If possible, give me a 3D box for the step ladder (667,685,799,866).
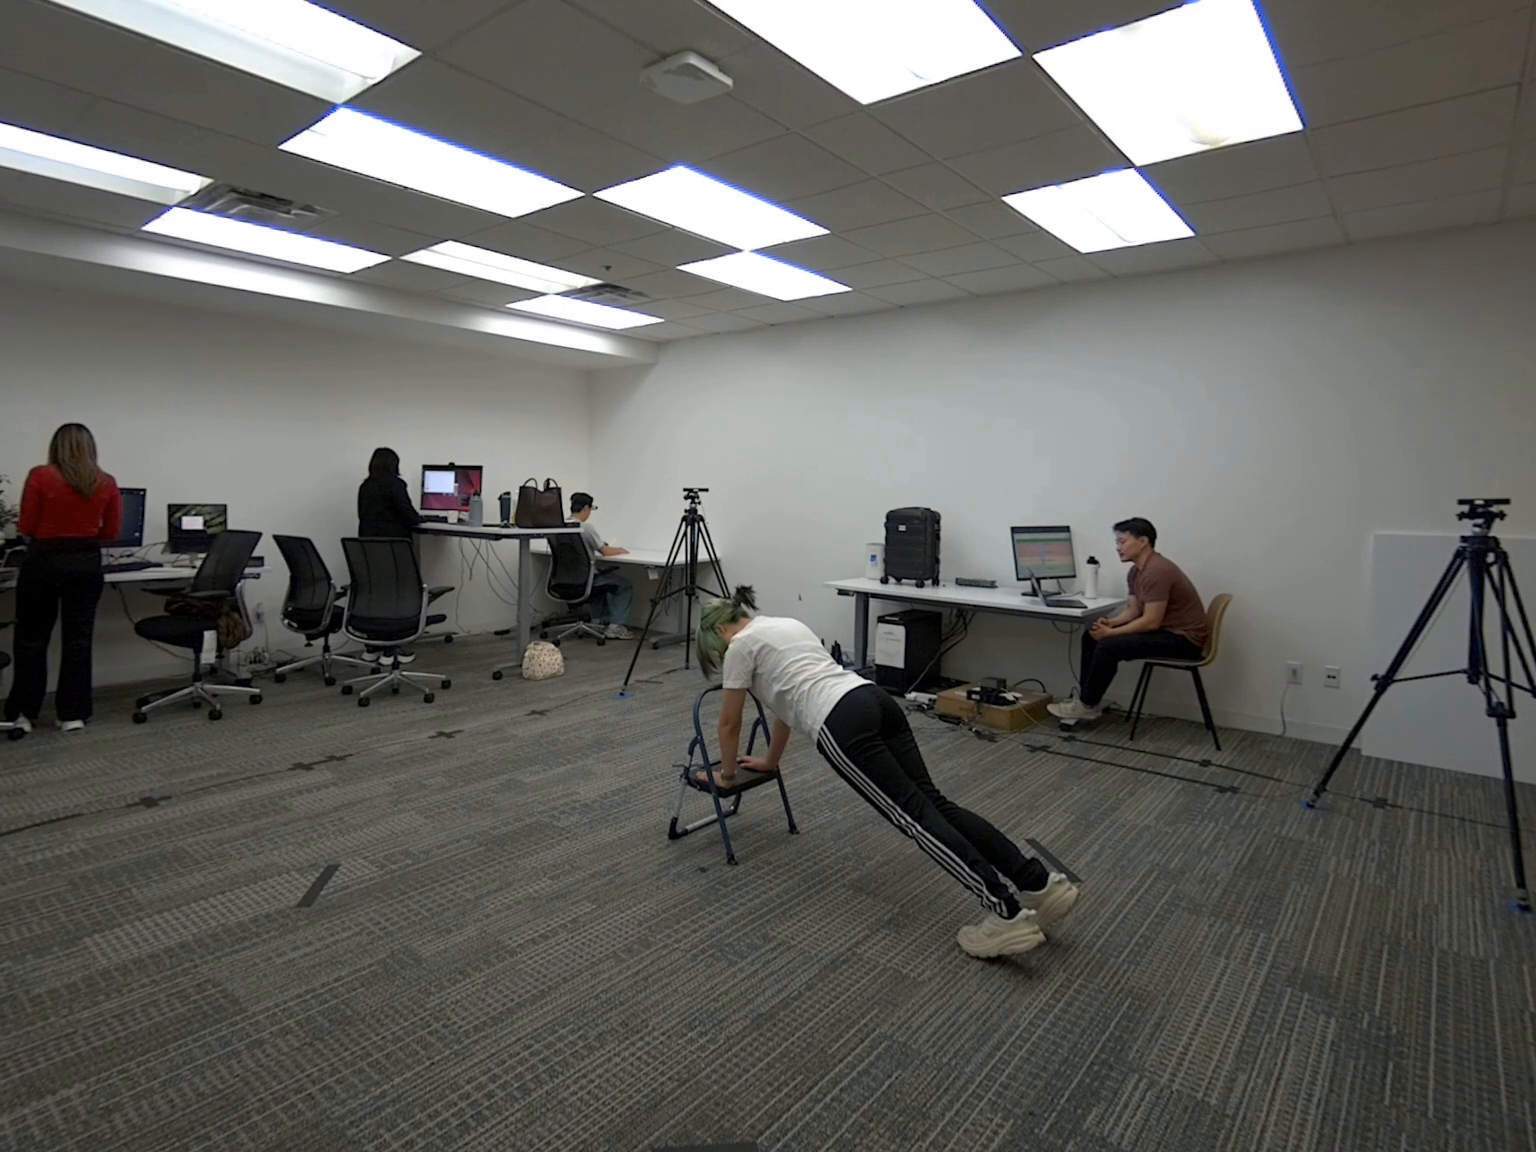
[{"bbox_3d":[-0.144,0.740,3.403,0.361,0.604,0.418,4,4,38],"label":"step ladder"}]
